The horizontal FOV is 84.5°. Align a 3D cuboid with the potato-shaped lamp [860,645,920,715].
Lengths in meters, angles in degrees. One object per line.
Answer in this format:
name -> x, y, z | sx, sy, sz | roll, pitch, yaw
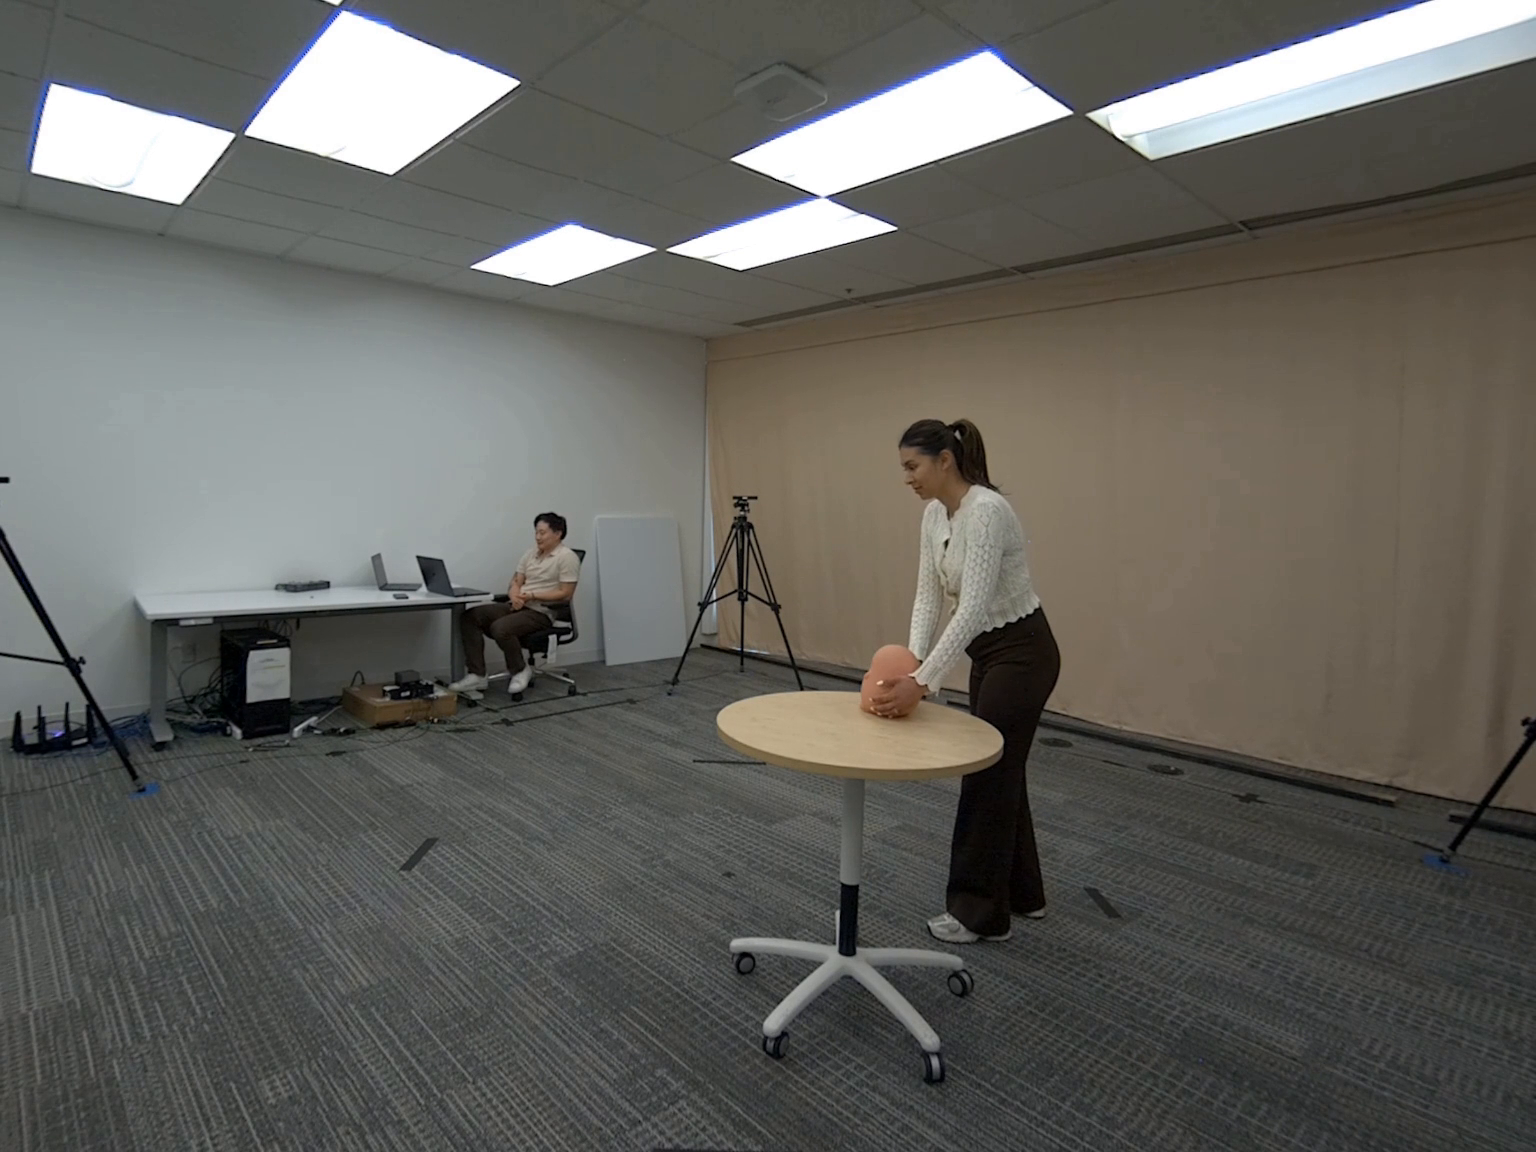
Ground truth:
potato-shaped lamp -> 0.354, 0.299, 2.422 | 0.176, 0.198, 0.160 | 5, 1, 43
